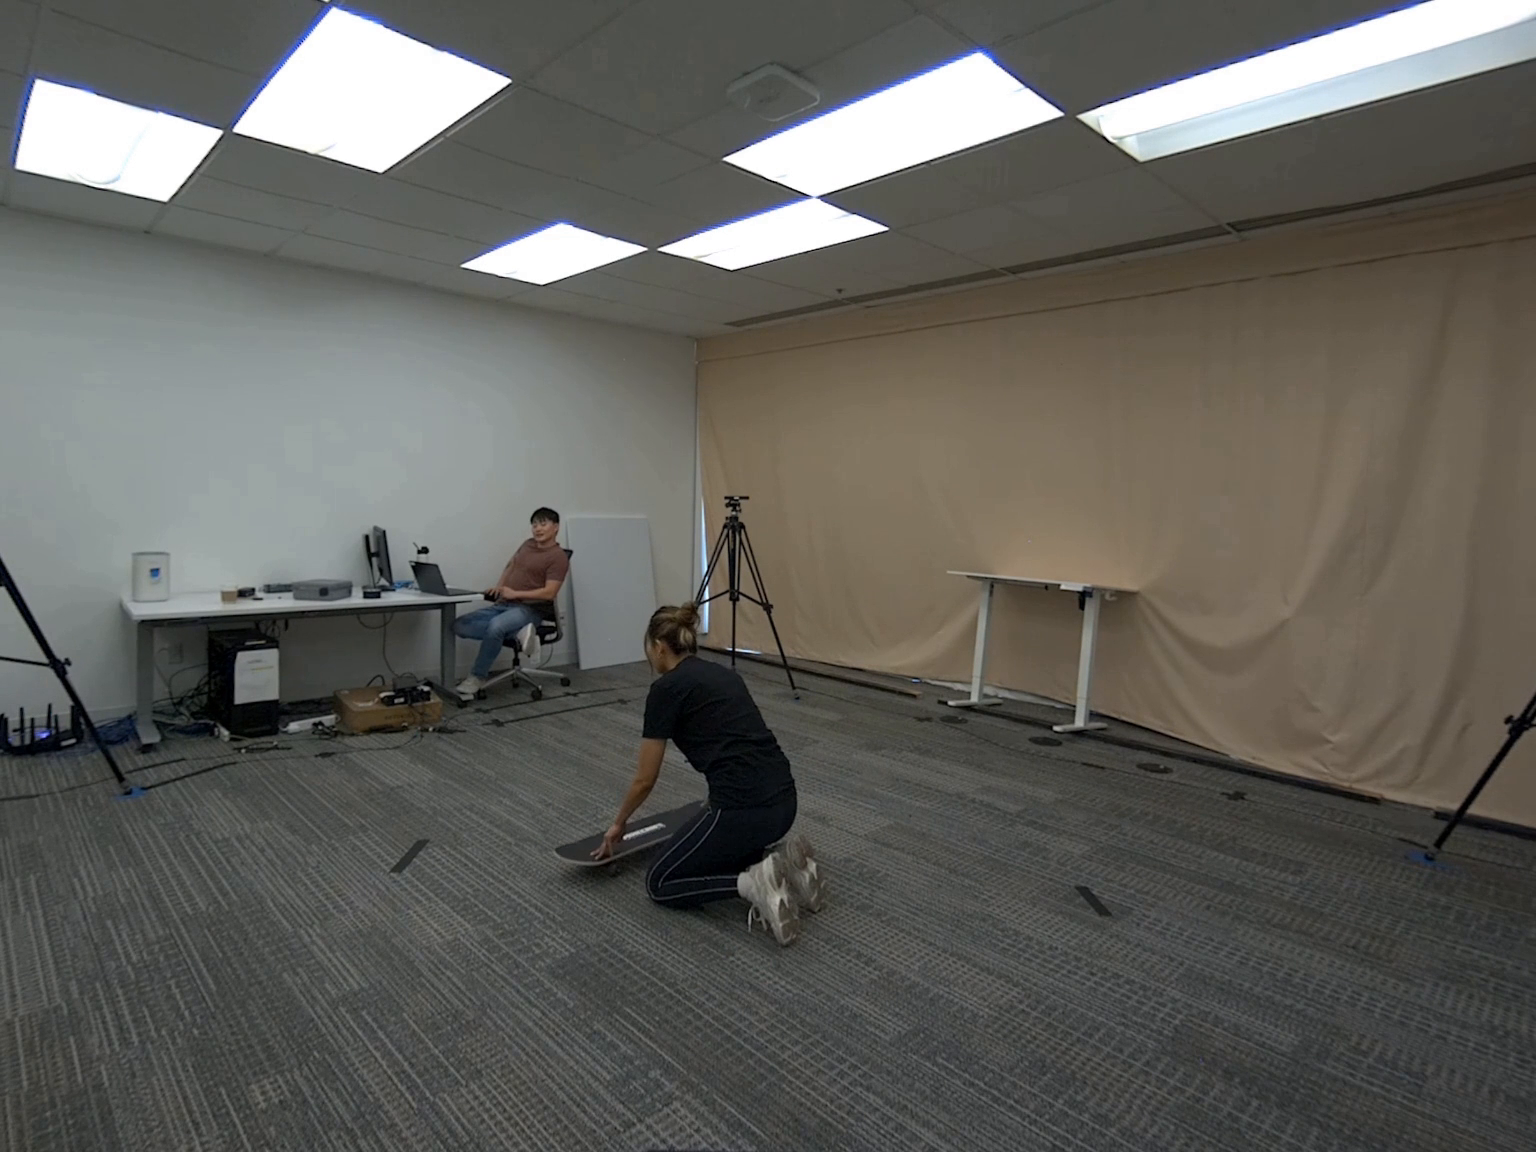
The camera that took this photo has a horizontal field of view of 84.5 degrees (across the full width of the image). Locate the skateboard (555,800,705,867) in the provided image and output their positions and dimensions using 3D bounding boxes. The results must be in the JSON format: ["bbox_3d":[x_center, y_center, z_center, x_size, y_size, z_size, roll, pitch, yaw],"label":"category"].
[{"bbox_3d":[-0.487,1.016,3.262,0.198,0.110,0.768,7,8,41],"label":"skateboard"}]
